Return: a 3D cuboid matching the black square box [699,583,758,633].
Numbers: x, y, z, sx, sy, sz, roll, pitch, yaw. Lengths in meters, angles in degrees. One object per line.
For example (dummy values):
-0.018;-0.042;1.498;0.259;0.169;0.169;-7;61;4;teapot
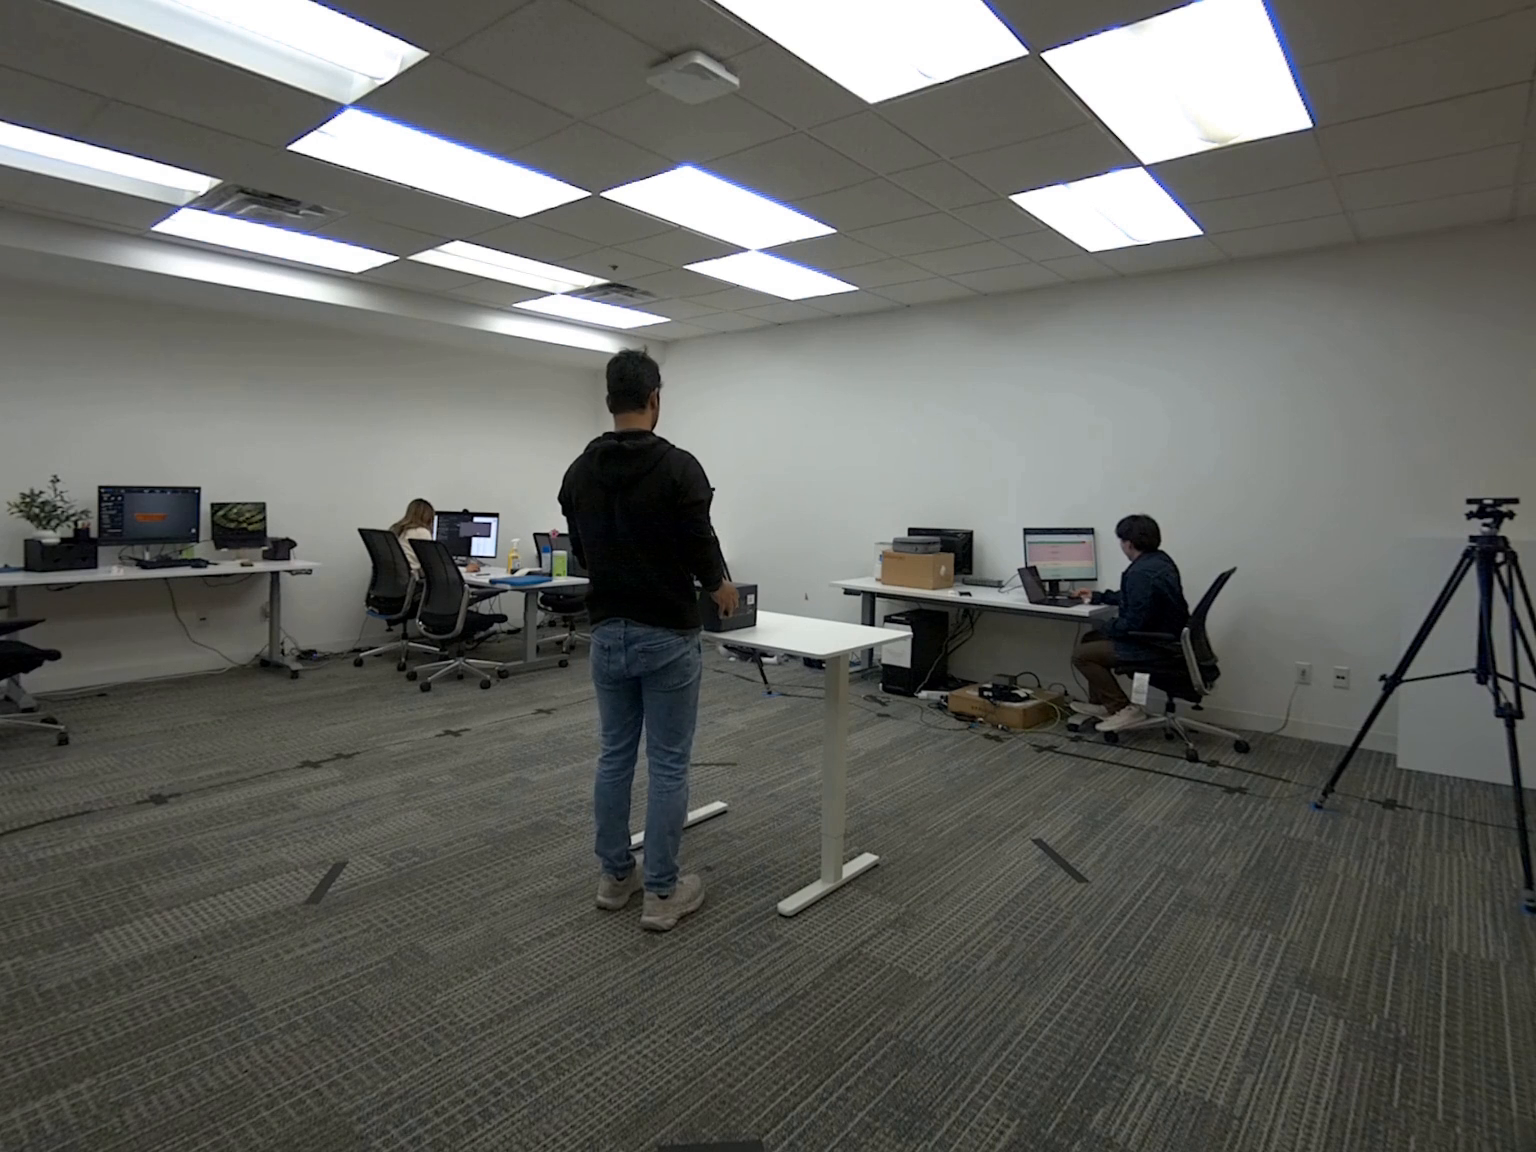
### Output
-0.209;0.098;3.135;0.235;0.155;0.211;5;6;37;black square box
